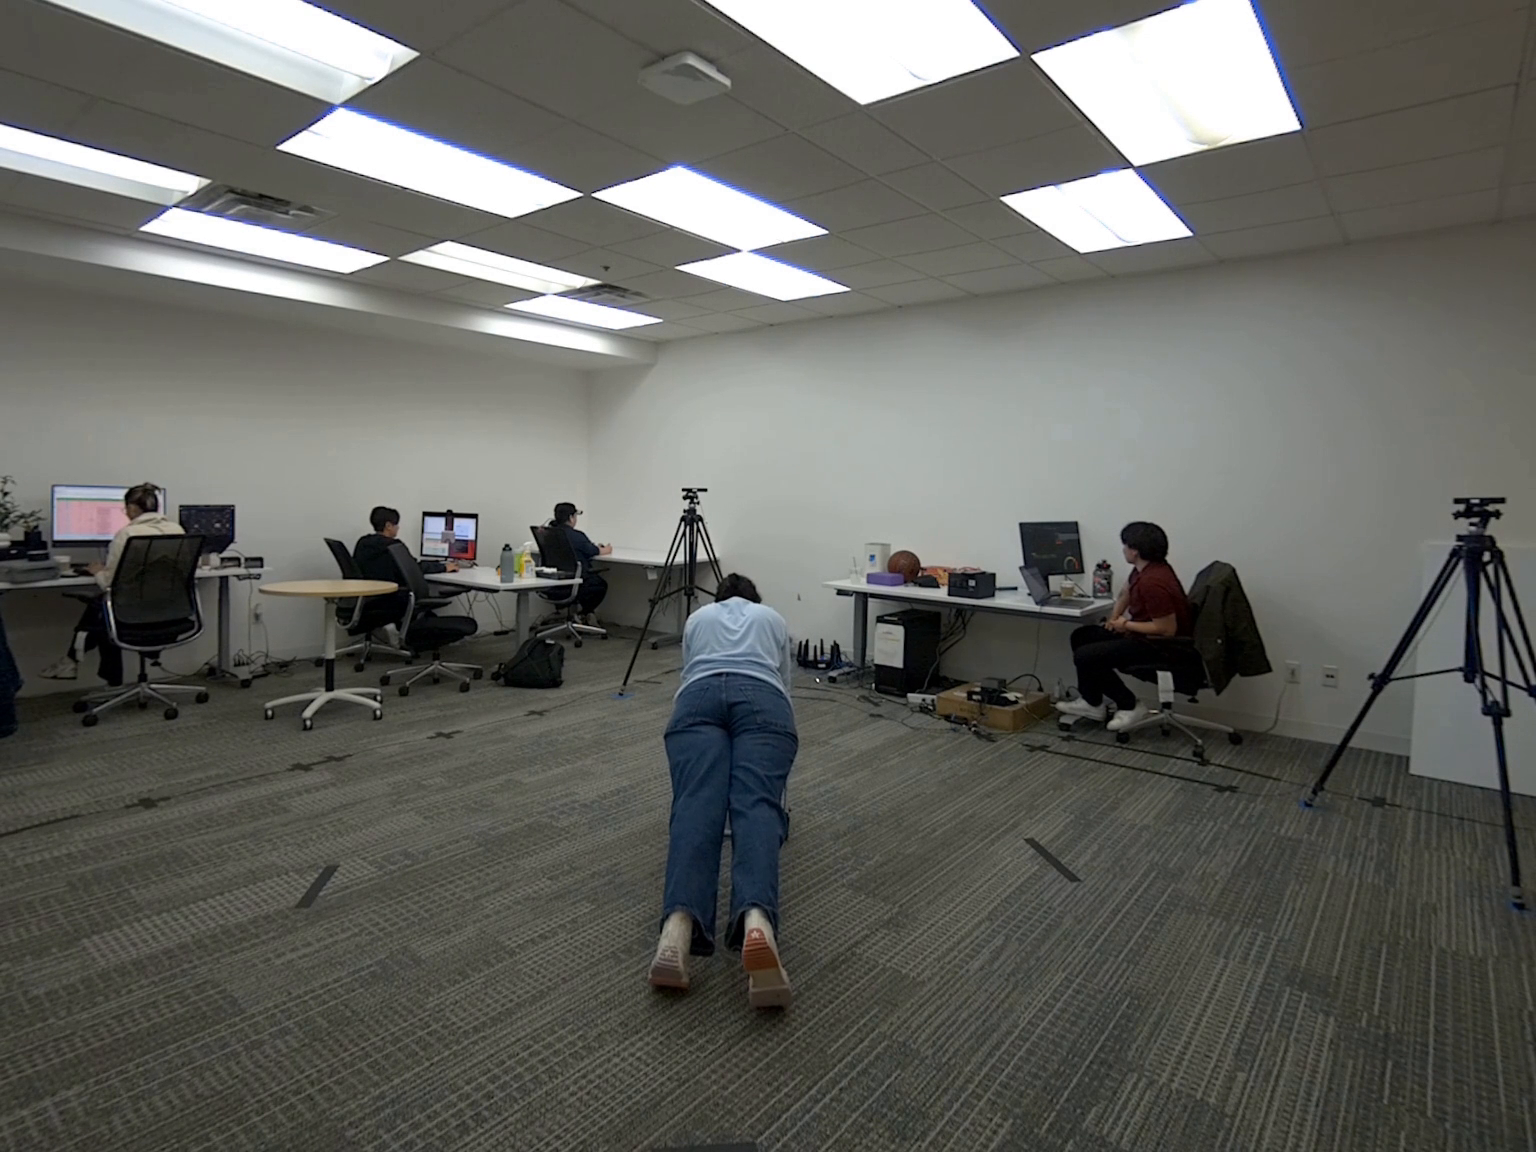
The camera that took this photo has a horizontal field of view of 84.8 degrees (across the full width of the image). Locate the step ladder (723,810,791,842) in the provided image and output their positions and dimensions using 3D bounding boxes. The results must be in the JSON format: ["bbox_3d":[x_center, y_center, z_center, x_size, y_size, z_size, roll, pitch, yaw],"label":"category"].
[{"bbox_3d":[-0.124,0.724,3.549,0.432,0.604,0.349,1,3,3],"label":"step ladder"}]
